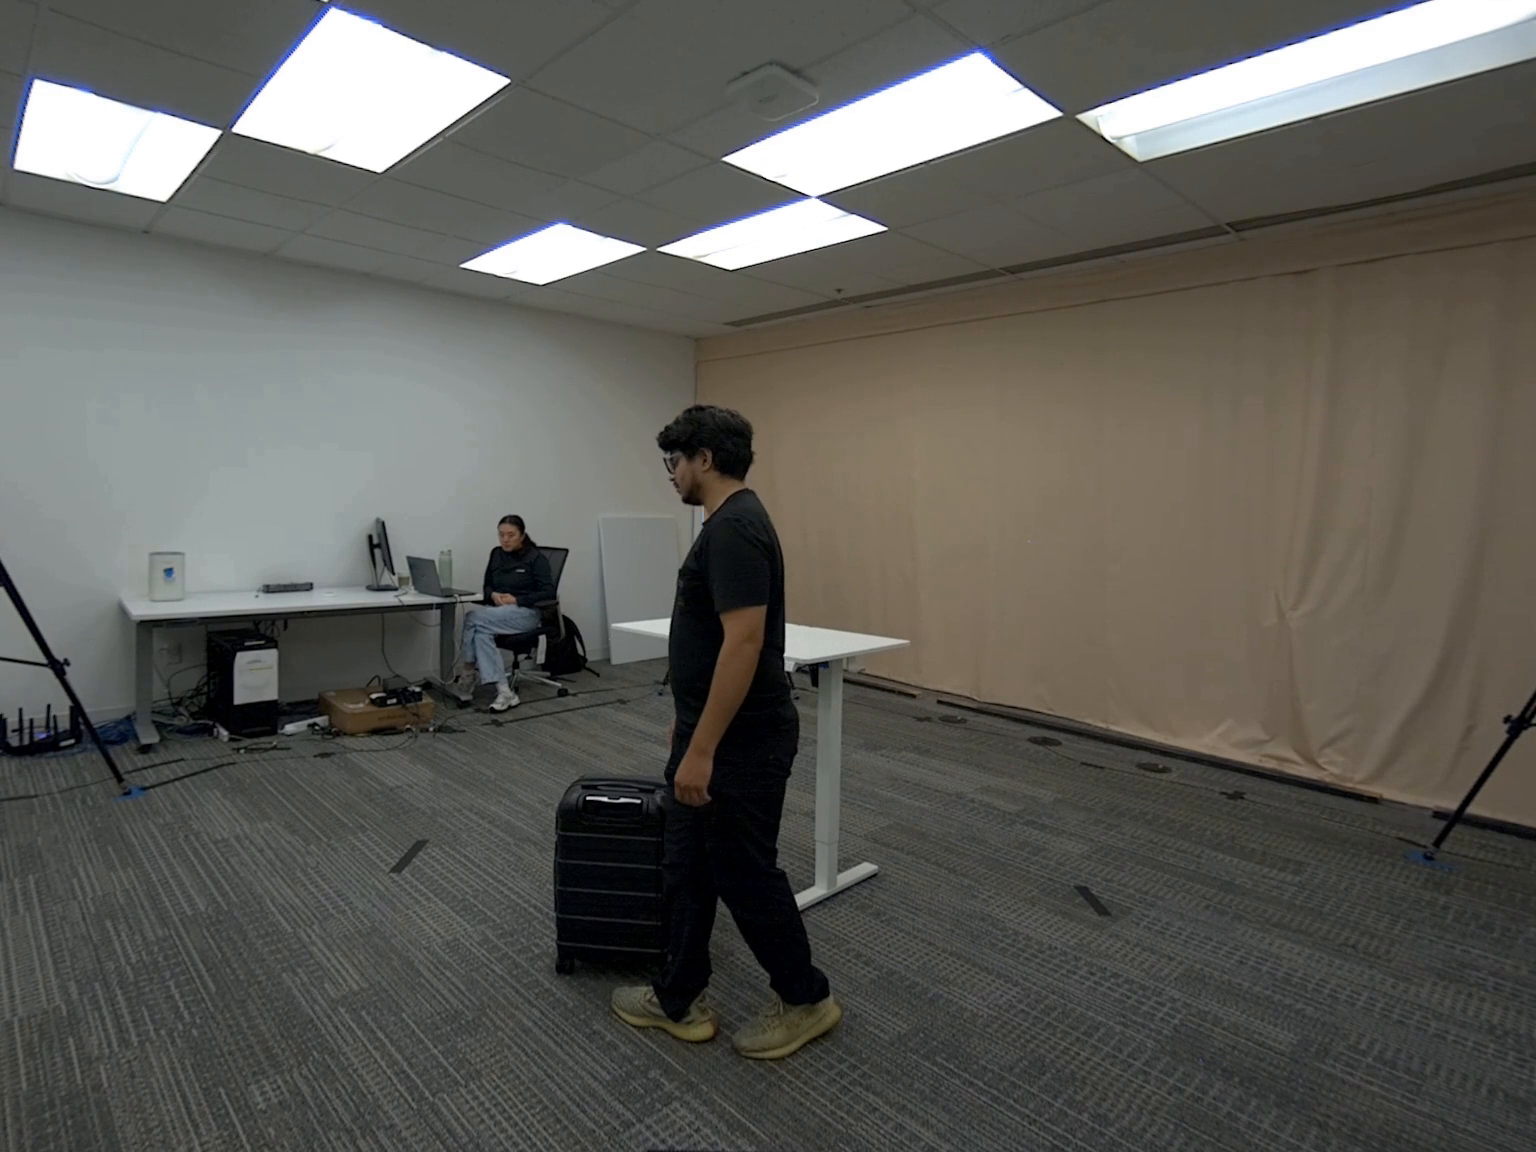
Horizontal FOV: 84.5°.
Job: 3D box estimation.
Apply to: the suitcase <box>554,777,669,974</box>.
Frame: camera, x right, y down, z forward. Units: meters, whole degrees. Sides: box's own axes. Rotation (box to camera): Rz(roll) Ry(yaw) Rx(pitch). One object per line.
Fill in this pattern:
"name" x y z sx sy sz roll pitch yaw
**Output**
"suitcase" -0.449 0.880 2.503 0.376 0.547 0.248 1 5 3
